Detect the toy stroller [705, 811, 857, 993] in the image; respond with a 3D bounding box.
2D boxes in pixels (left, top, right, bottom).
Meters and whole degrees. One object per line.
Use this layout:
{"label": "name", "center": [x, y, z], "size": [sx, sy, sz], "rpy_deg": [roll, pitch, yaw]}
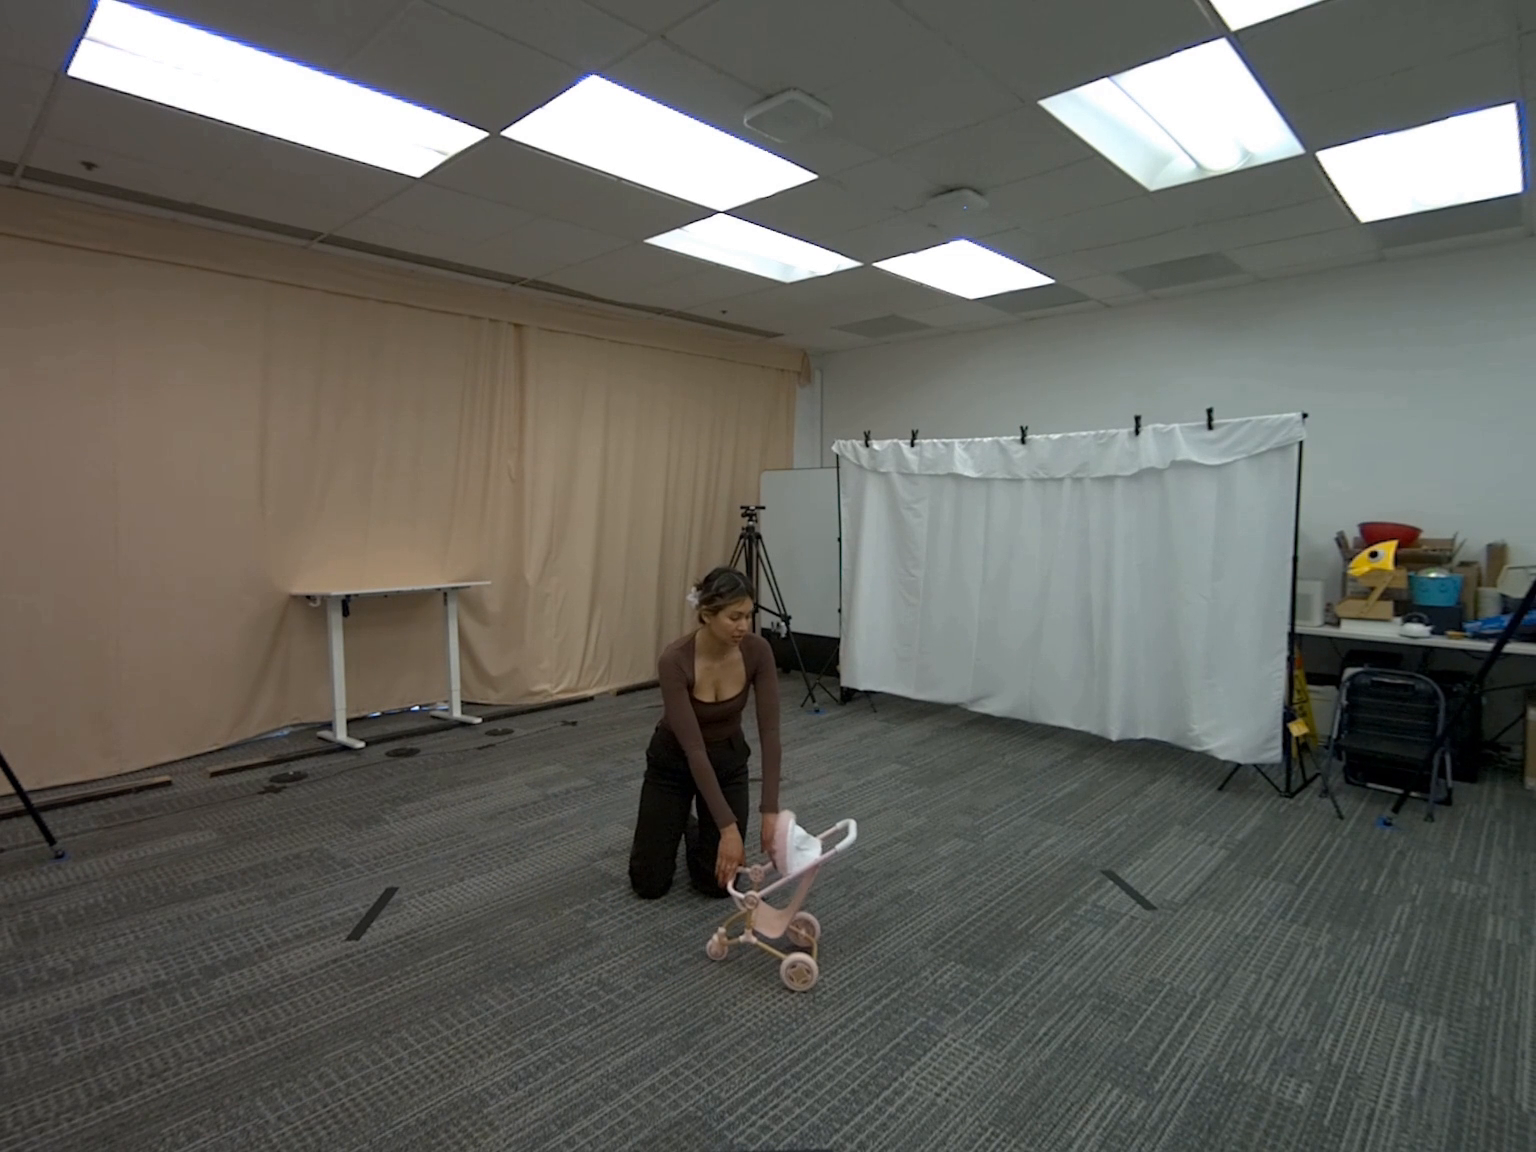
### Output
{"label": "toy stroller", "center": [0.034, 0.951, 2.549], "size": [0.346, 0.534, 0.278], "rpy_deg": [16, 5, 11]}
